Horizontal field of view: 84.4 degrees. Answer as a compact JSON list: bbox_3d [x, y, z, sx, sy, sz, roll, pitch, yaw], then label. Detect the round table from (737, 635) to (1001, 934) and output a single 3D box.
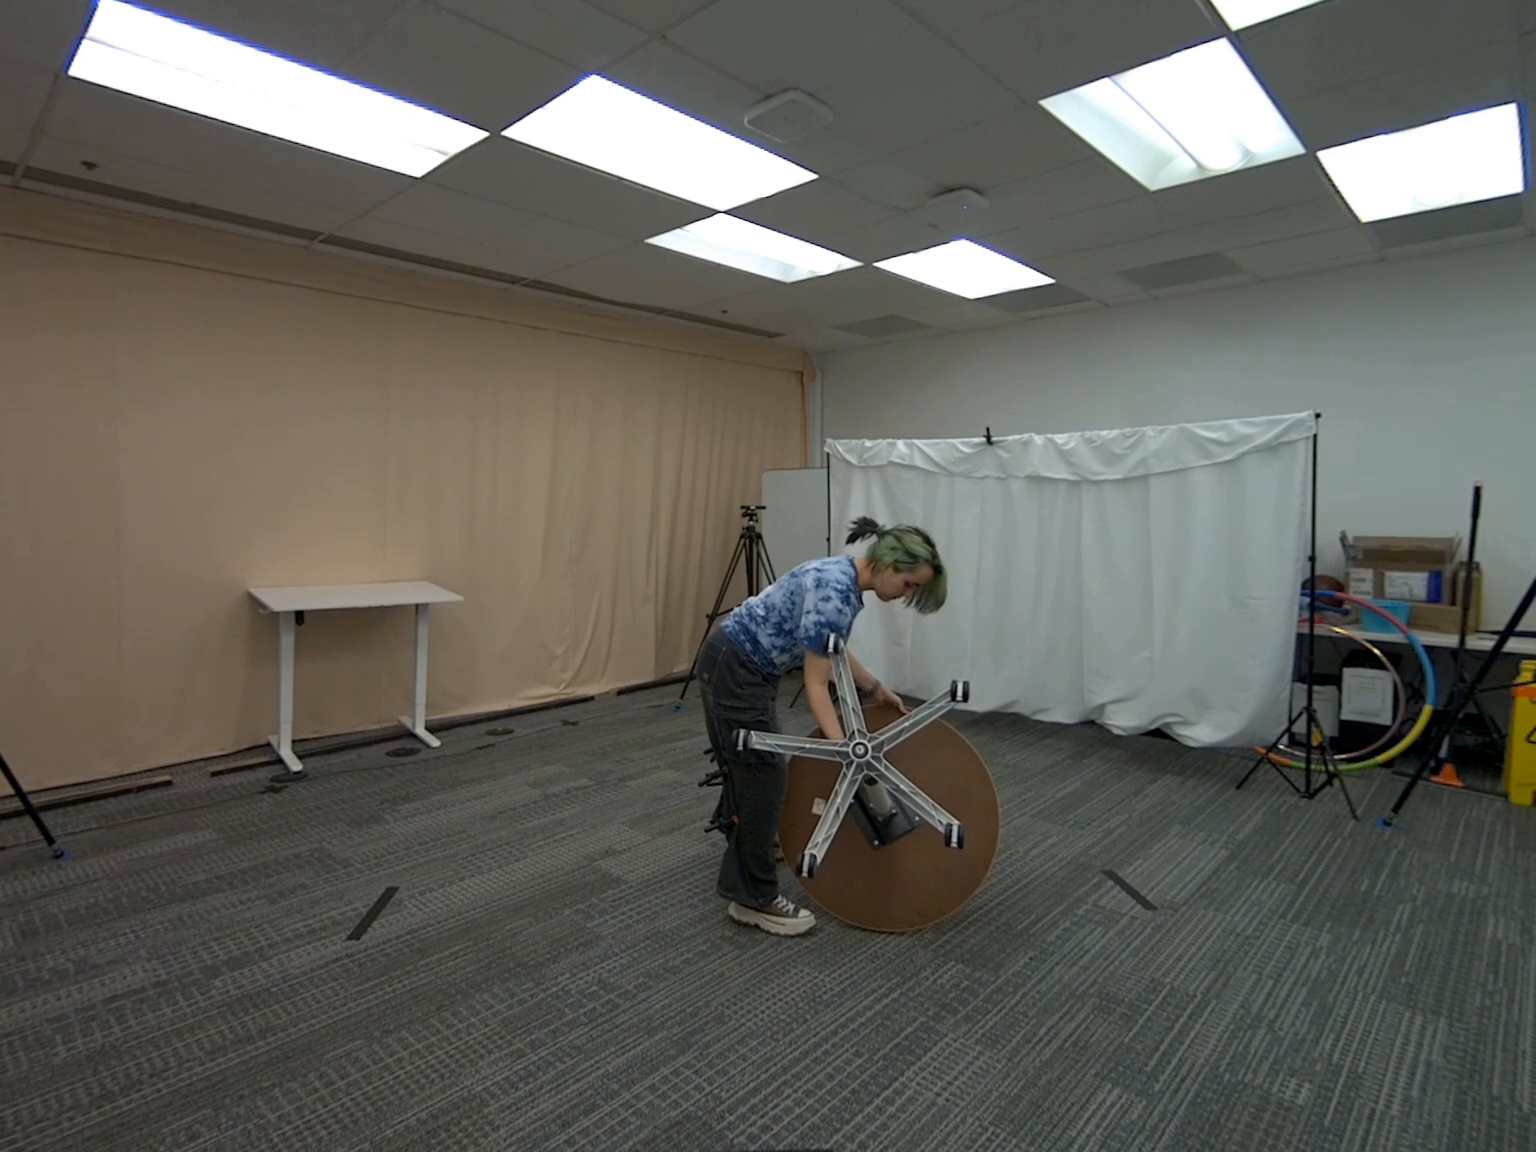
[{"bbox_3d":[0.322,0.644,2.618,0.778,0.772,0.772,1,-28,16],"label":"round table"}]
